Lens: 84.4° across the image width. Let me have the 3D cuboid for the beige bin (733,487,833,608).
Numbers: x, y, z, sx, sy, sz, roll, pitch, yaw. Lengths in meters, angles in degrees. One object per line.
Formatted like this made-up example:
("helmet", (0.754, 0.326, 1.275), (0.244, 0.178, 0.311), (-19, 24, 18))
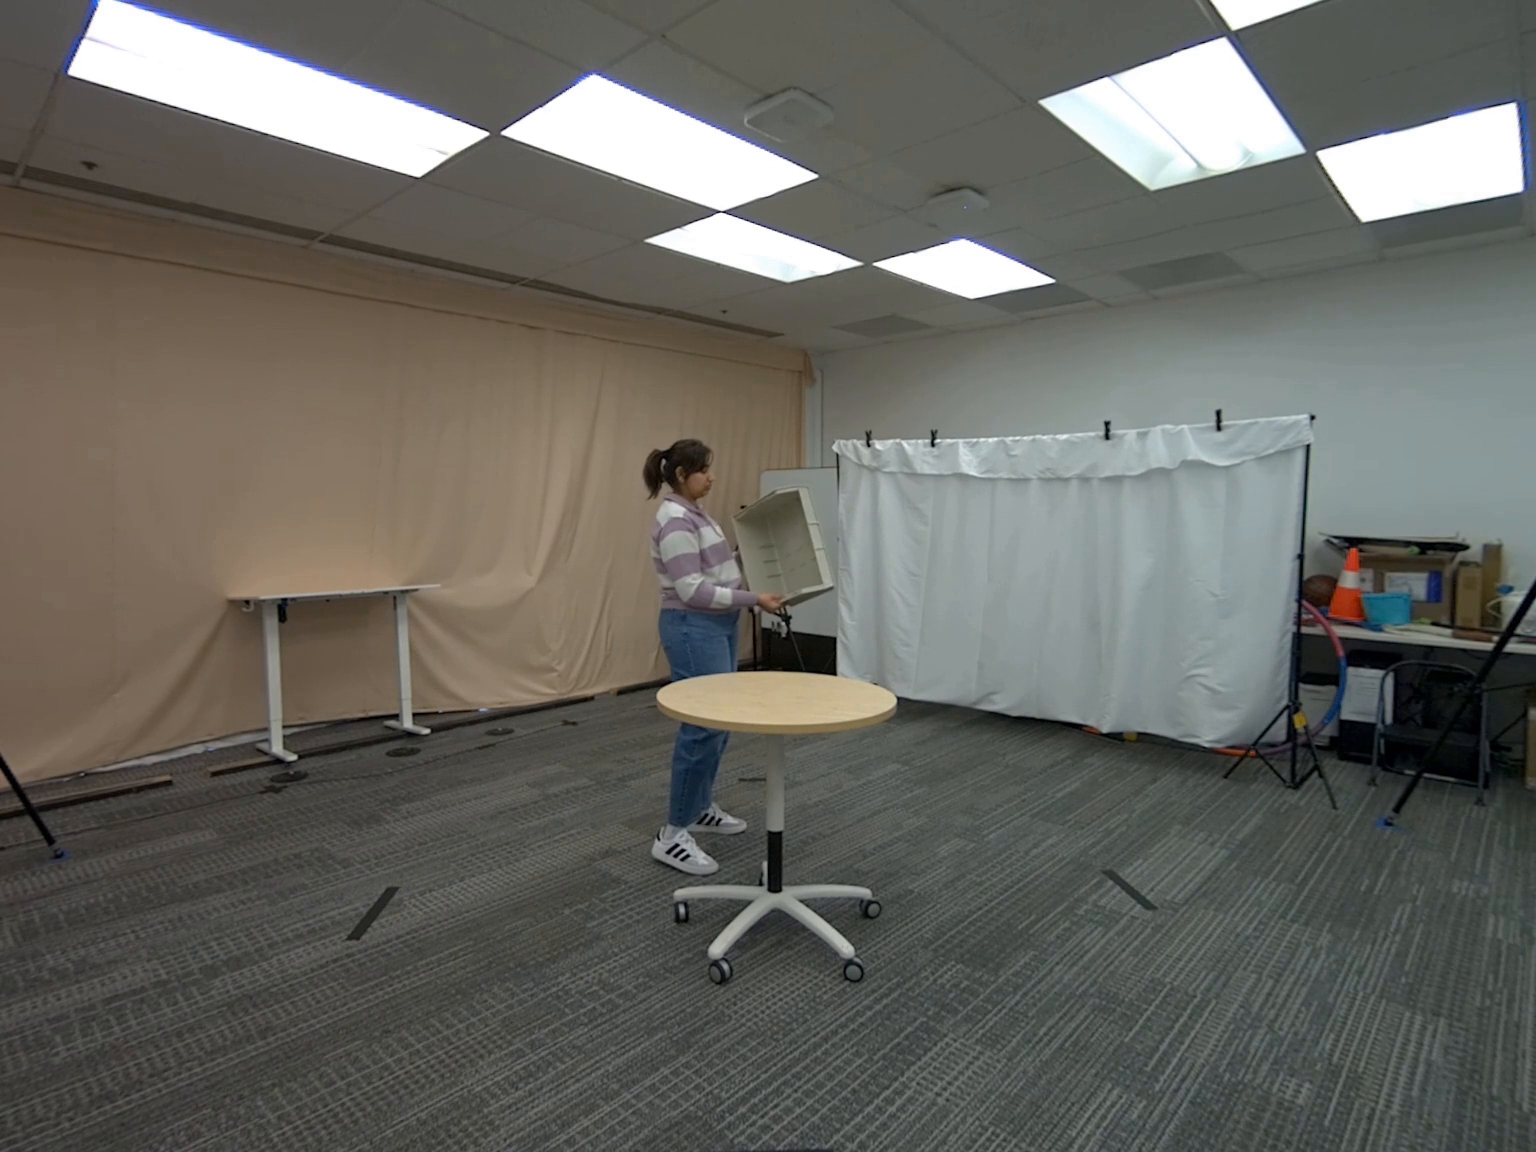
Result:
("beige bin", (0.074, -0.101, 3.378), (0.184, 0.426, 0.384), (-6, -13, -34))
